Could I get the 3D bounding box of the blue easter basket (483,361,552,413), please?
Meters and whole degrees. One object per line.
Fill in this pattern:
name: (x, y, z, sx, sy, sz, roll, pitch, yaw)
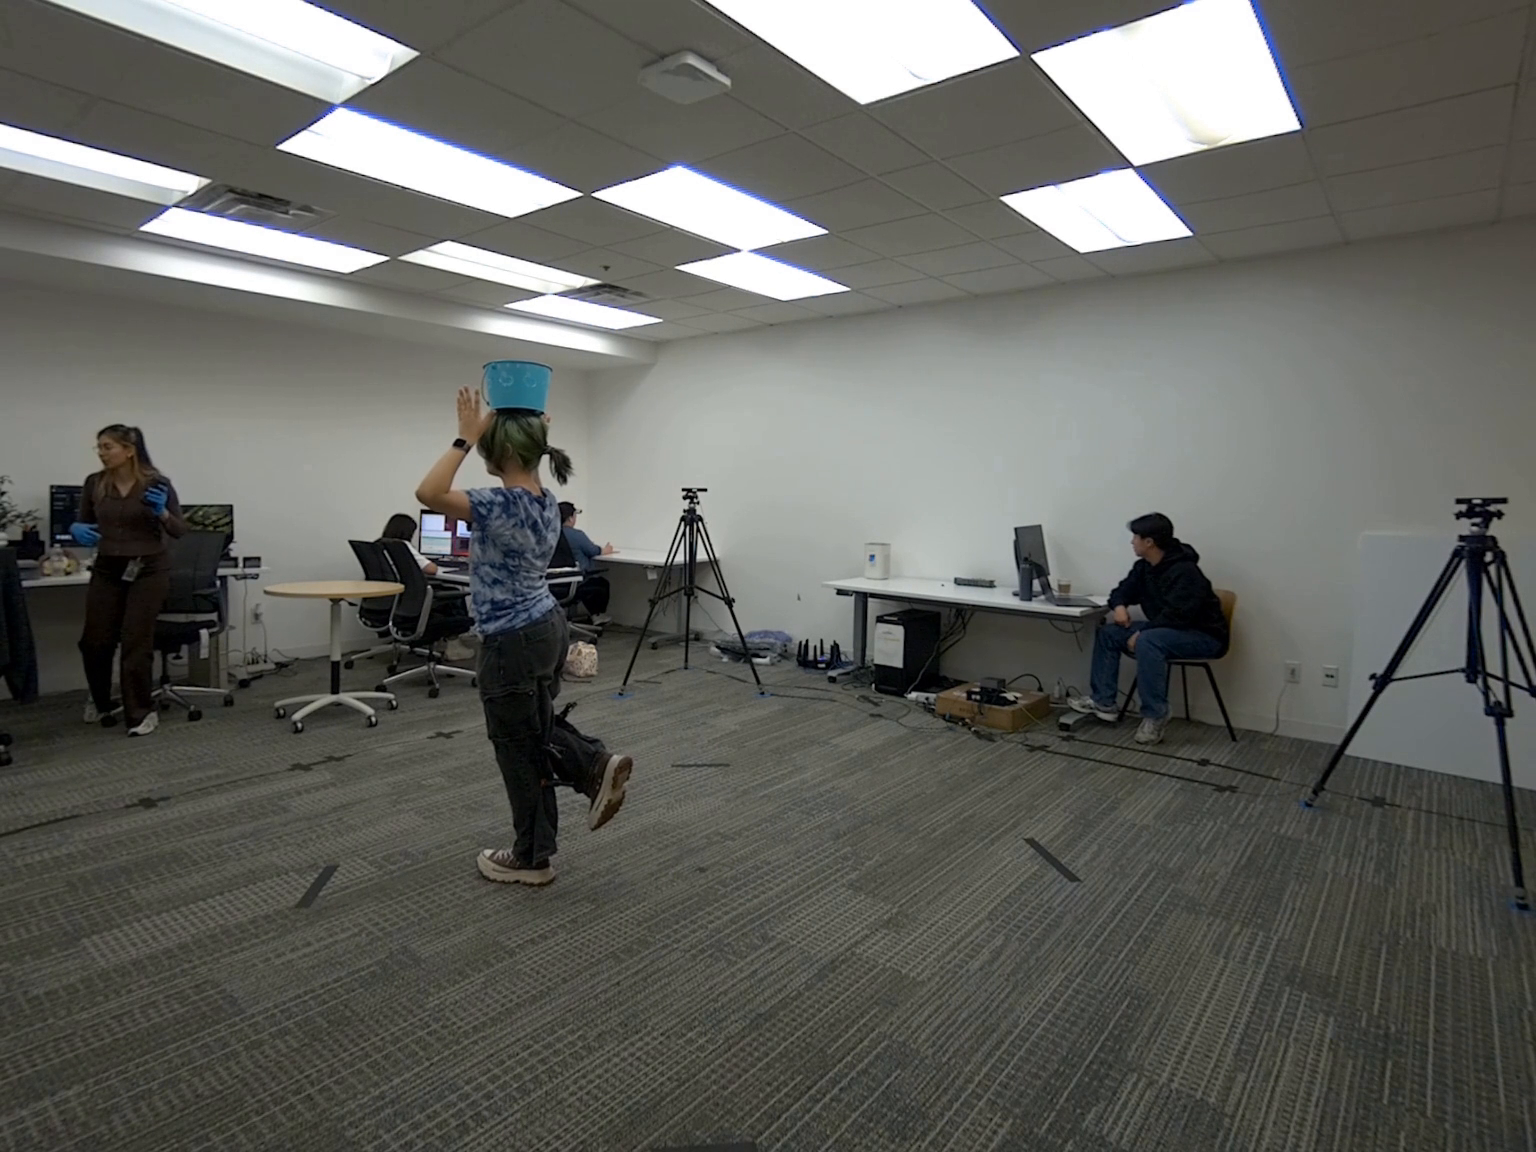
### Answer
blue easter basket: (-0.863, -0.630, 2.889, 0.243, 0.156, 0.244, -1, 0, -2)
